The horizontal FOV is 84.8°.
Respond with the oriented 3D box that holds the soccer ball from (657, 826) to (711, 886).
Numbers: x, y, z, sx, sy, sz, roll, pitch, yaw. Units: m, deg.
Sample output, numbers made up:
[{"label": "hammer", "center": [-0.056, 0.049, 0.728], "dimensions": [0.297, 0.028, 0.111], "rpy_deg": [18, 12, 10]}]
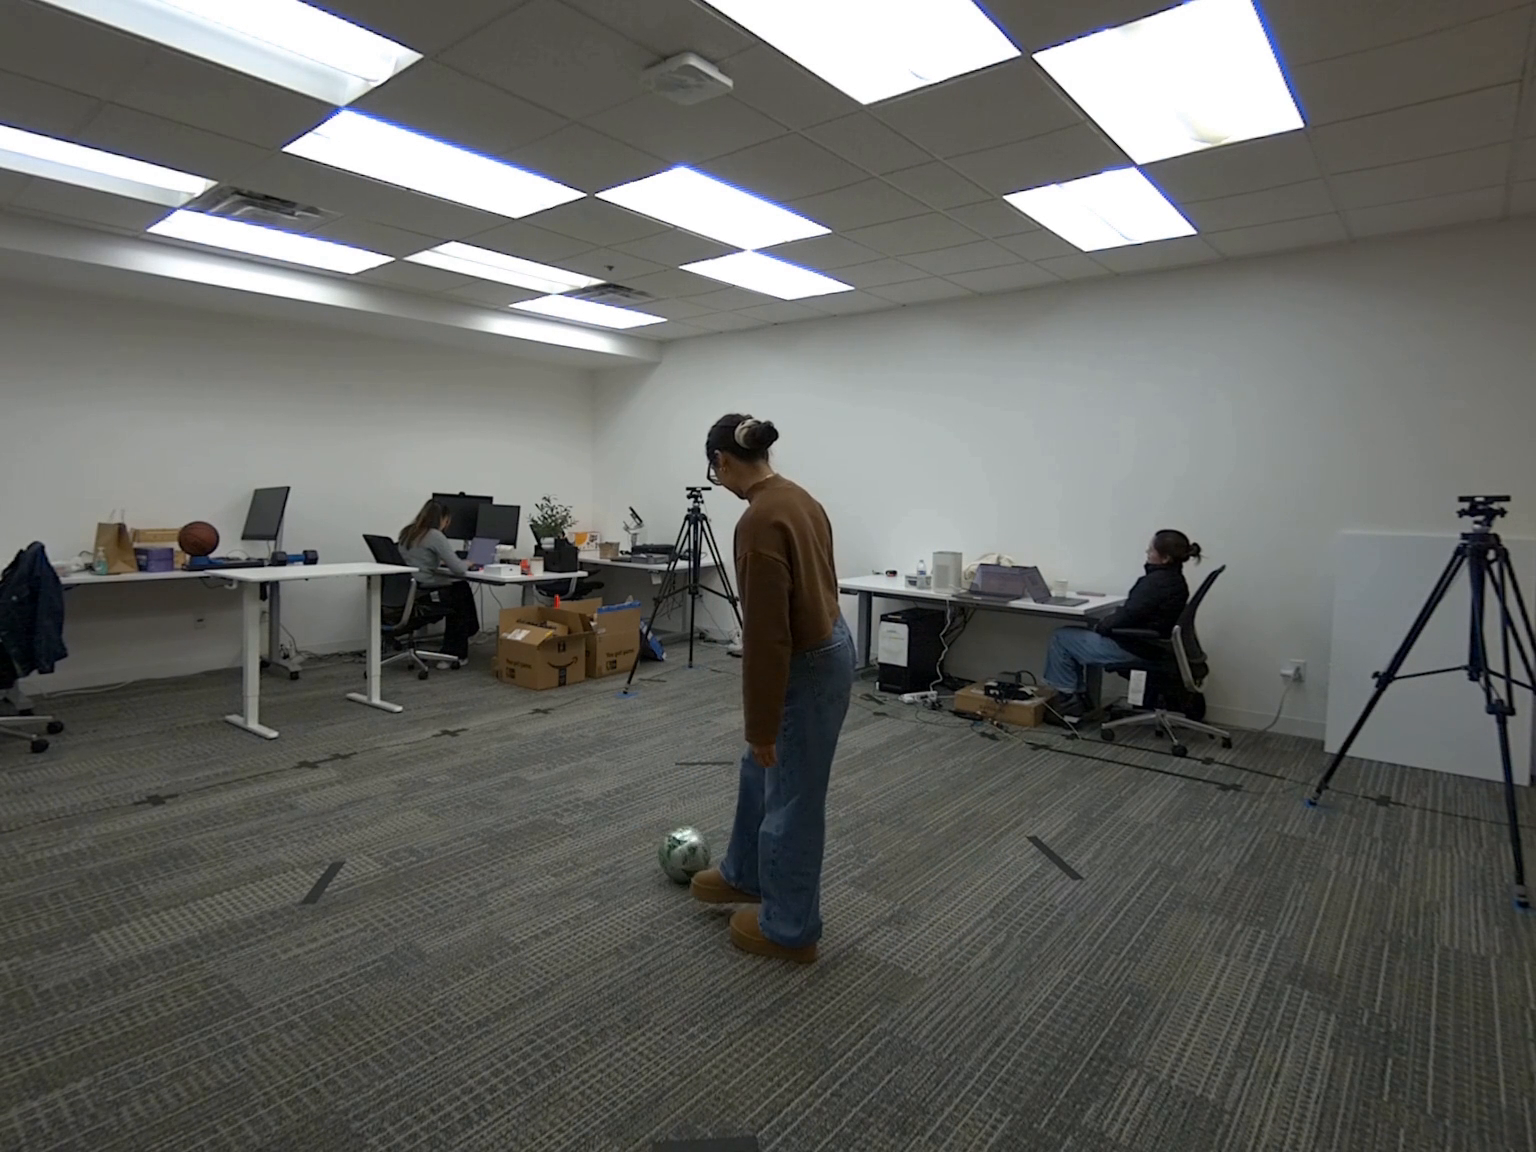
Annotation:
[{"label": "soccer ball", "center": [-0.303, 0.977, 3.006], "dimensions": [0.187, 0.187, 0.188], "rpy_deg": [1, 4, -2]}]
